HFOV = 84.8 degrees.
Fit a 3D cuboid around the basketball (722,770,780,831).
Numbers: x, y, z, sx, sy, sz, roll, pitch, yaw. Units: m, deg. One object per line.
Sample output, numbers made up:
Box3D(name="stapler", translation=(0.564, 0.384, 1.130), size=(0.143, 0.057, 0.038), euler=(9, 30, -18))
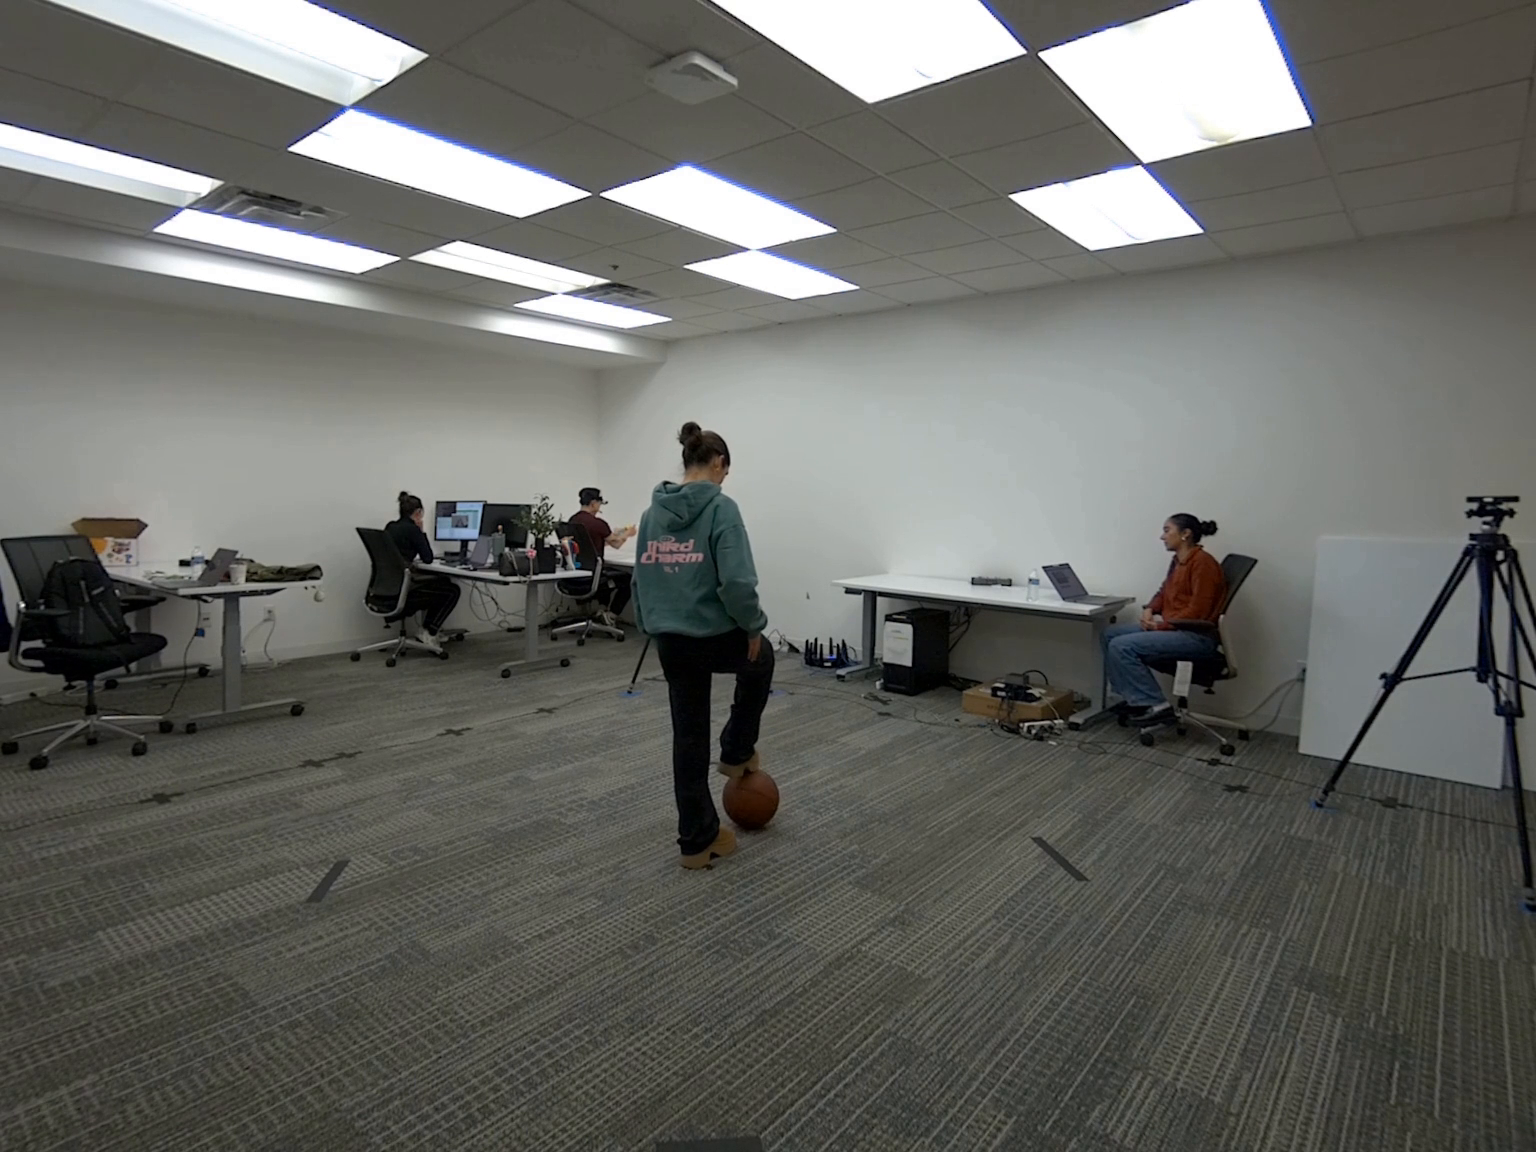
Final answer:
Box3D(name="basketball", translation=(-0.073, 0.910, 3.507), size=(0.236, 0.235, 0.237), euler=(1, 4, -2))
